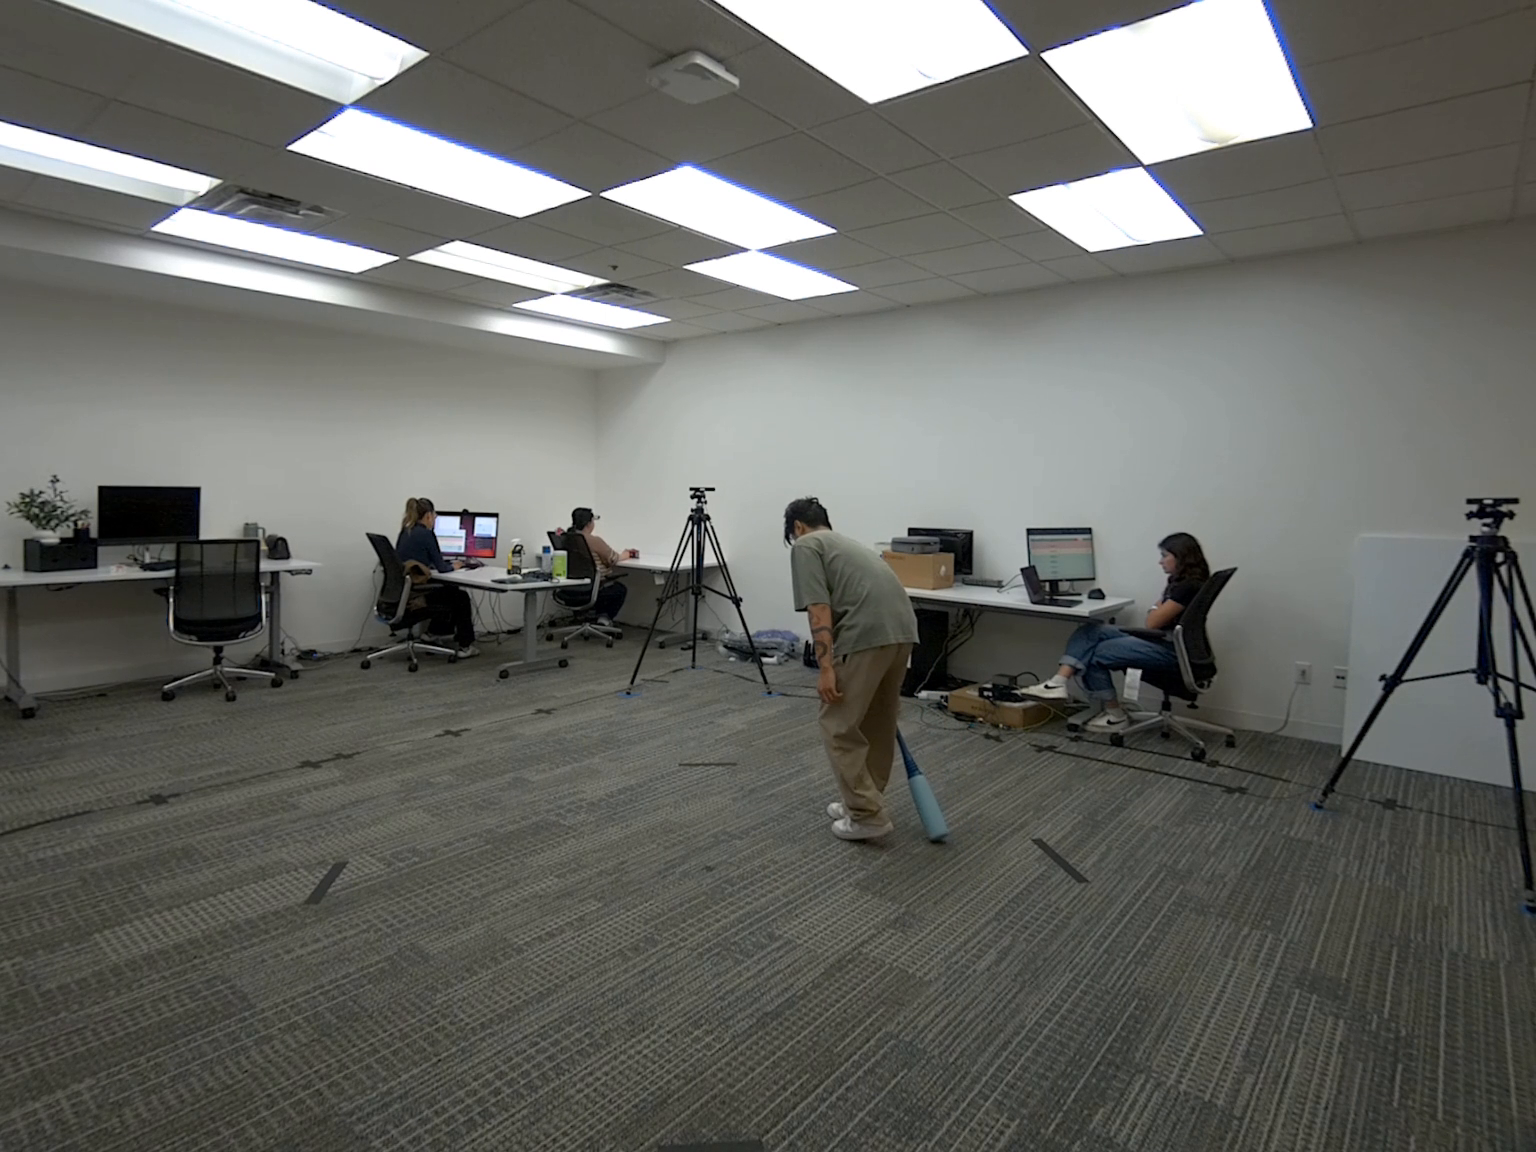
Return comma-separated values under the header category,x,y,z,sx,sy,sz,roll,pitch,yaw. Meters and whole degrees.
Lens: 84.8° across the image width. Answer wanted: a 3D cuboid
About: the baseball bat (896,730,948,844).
category,x,y,z,sx,sy,sz,roll,pitch,yaw
baseball bat,0.598,0.820,3.519,0.088,0.561,0.087,-14,-29,-10
